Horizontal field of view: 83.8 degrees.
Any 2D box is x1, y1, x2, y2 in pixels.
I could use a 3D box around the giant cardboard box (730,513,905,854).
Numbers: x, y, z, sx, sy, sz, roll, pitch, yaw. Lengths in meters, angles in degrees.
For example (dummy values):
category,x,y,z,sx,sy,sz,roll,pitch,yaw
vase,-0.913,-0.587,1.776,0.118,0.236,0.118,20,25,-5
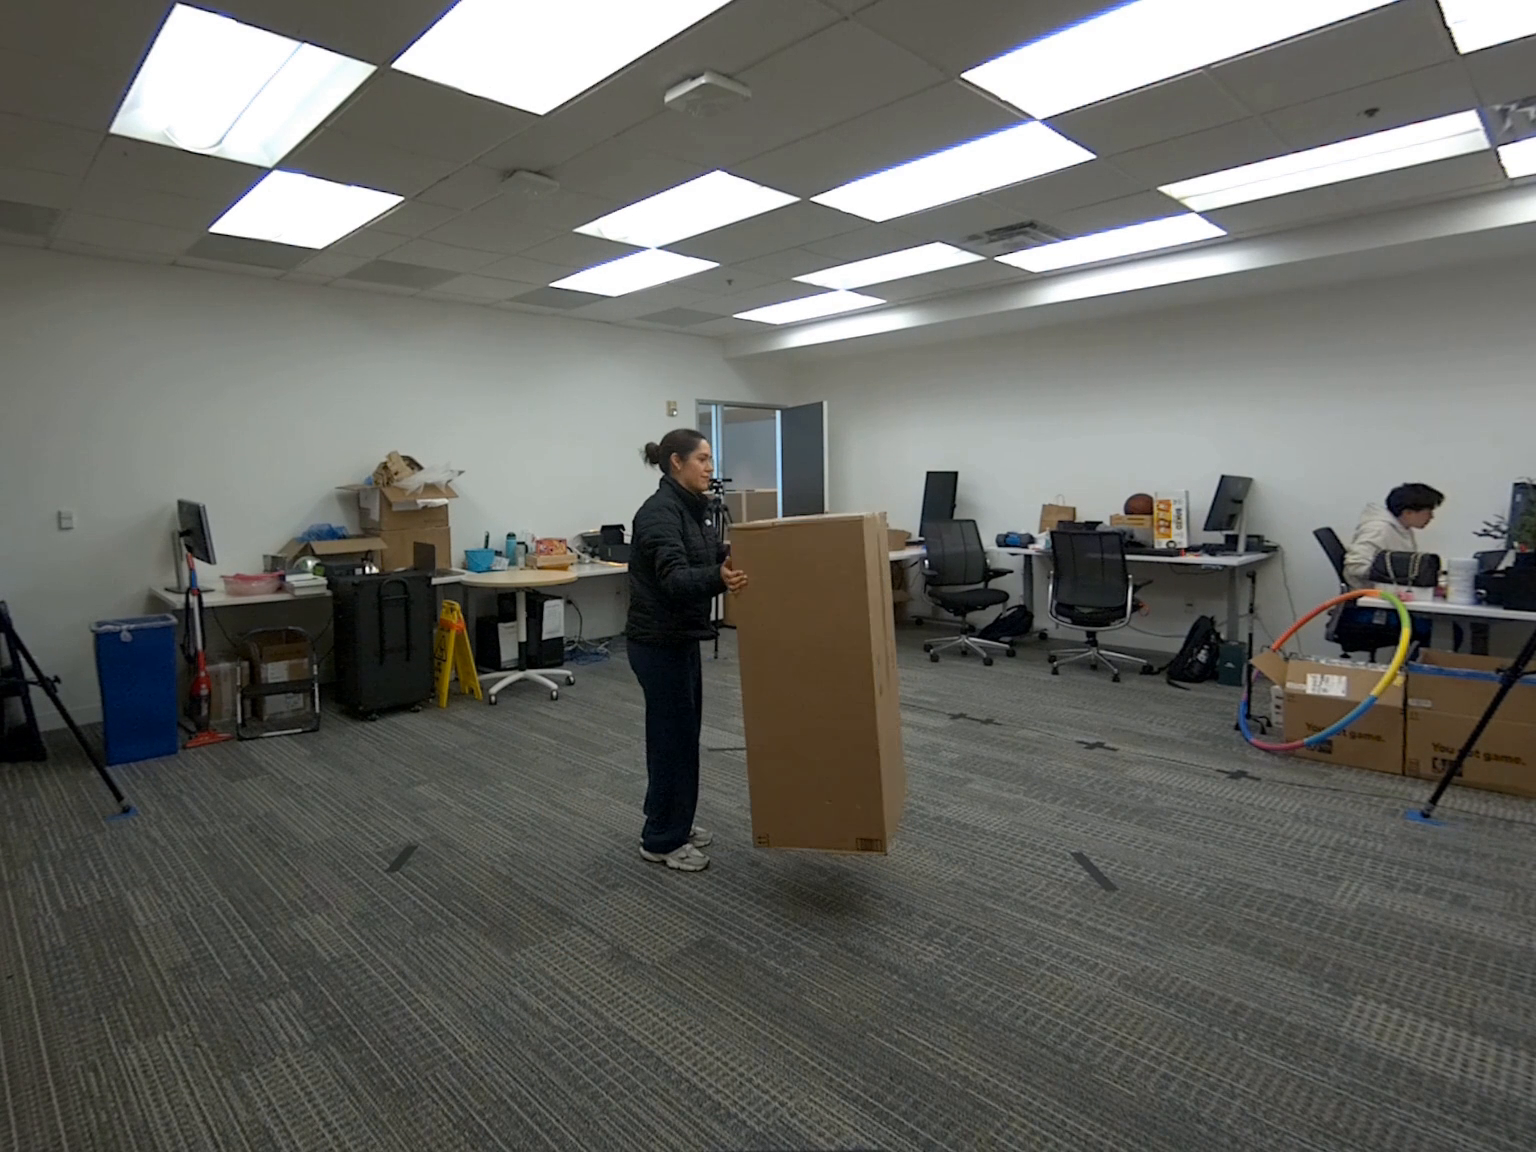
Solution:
category,x,y,z,sx,sy,sz,roll,pitch,yaw
giant cardboard box,0.177,0.322,2.876,0.433,1.024,0.570,-4,2,16
